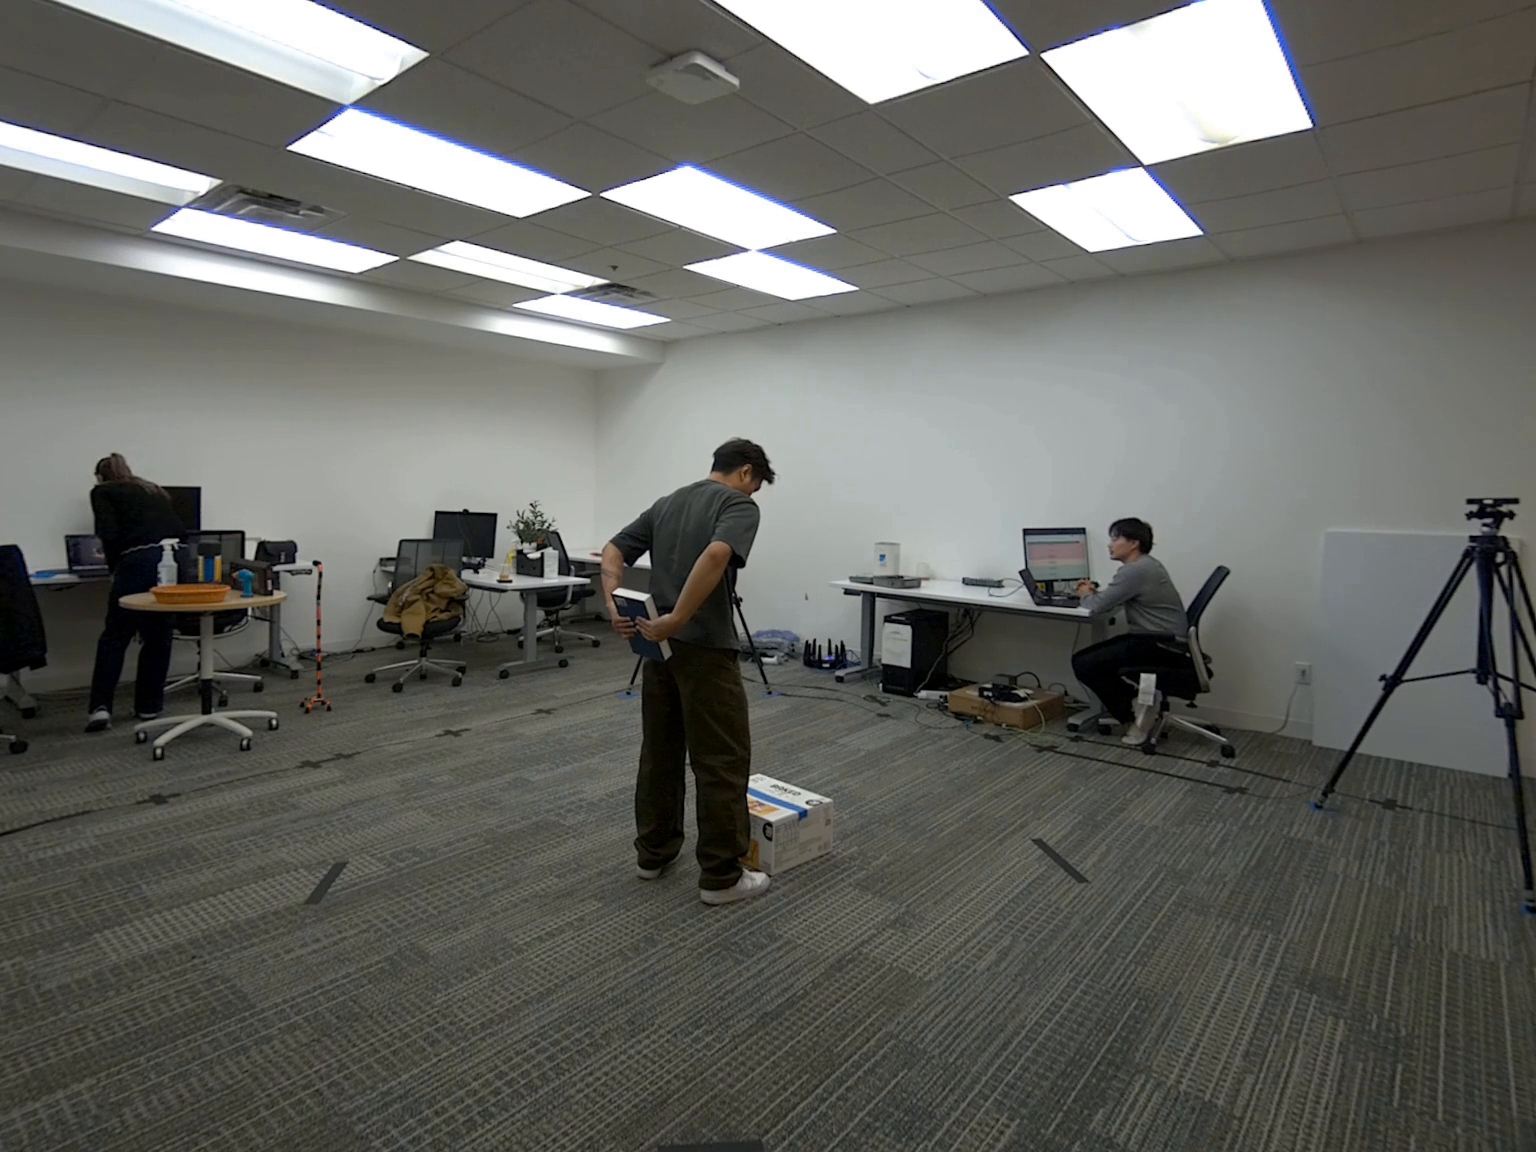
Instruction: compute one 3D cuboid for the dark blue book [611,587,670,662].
[{"bbox_3d":[-0.426,0.153,2.786,0.169,0.238,0.045,9,35,40],"label":"dark blue book"}]
